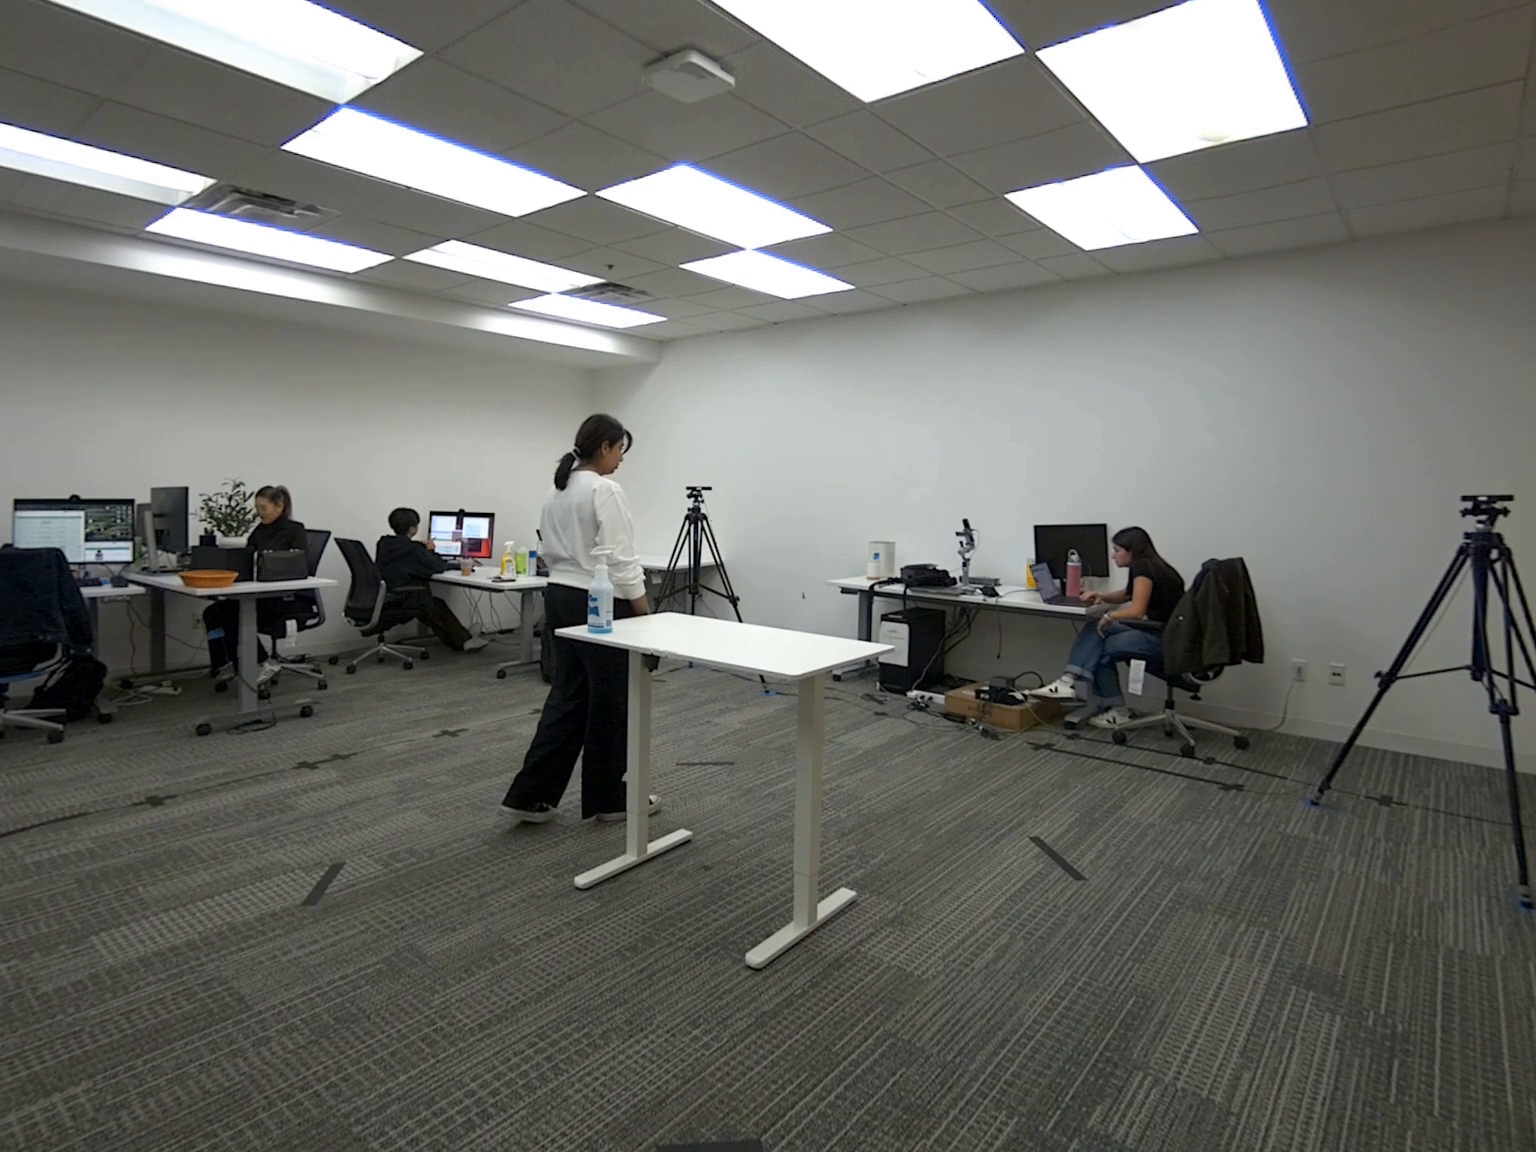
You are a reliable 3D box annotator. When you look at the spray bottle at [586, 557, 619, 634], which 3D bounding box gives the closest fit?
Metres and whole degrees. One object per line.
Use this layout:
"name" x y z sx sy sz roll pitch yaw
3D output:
"spray bottle" -0.577 0.044 2.931 0.091 0.297 0.086 1 3 9
